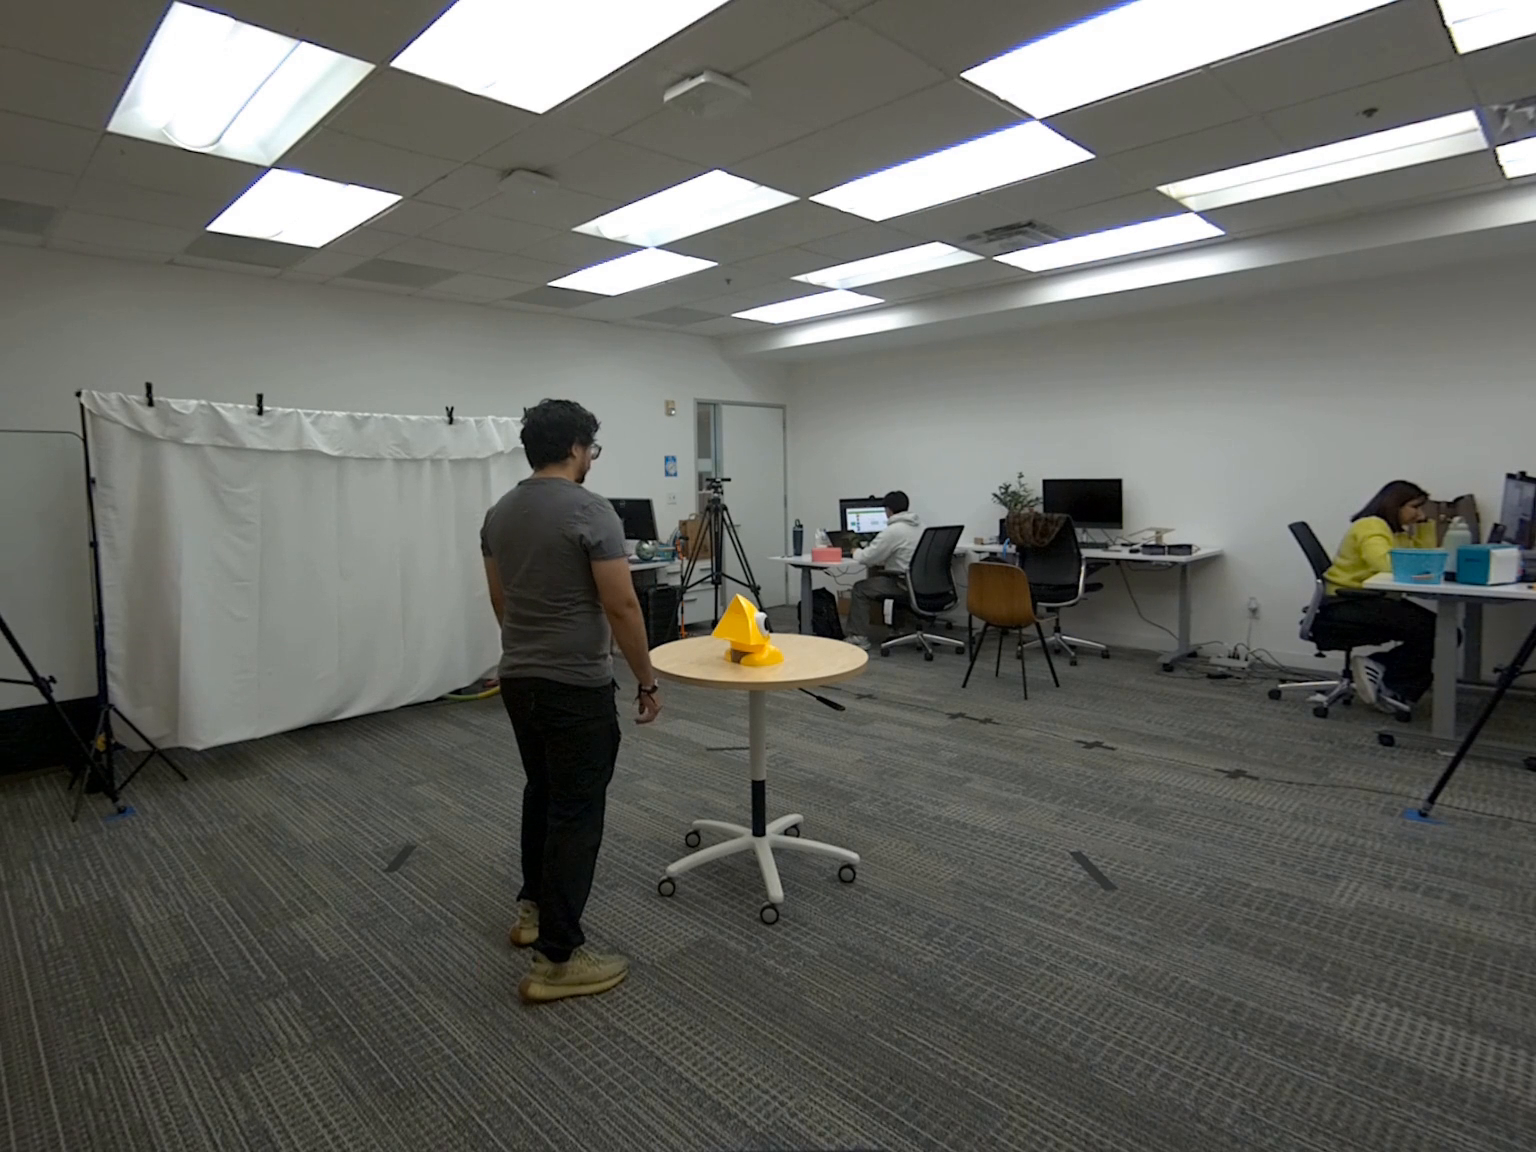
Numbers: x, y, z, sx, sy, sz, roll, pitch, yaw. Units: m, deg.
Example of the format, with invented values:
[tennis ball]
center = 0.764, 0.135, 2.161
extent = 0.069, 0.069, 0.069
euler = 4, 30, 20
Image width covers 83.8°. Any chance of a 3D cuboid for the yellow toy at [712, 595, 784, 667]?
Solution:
[yellow toy]
center = -0.058, 0.170, 2.884
extent = 0.188, 0.230, 0.211
euler = -5, 6, -40
